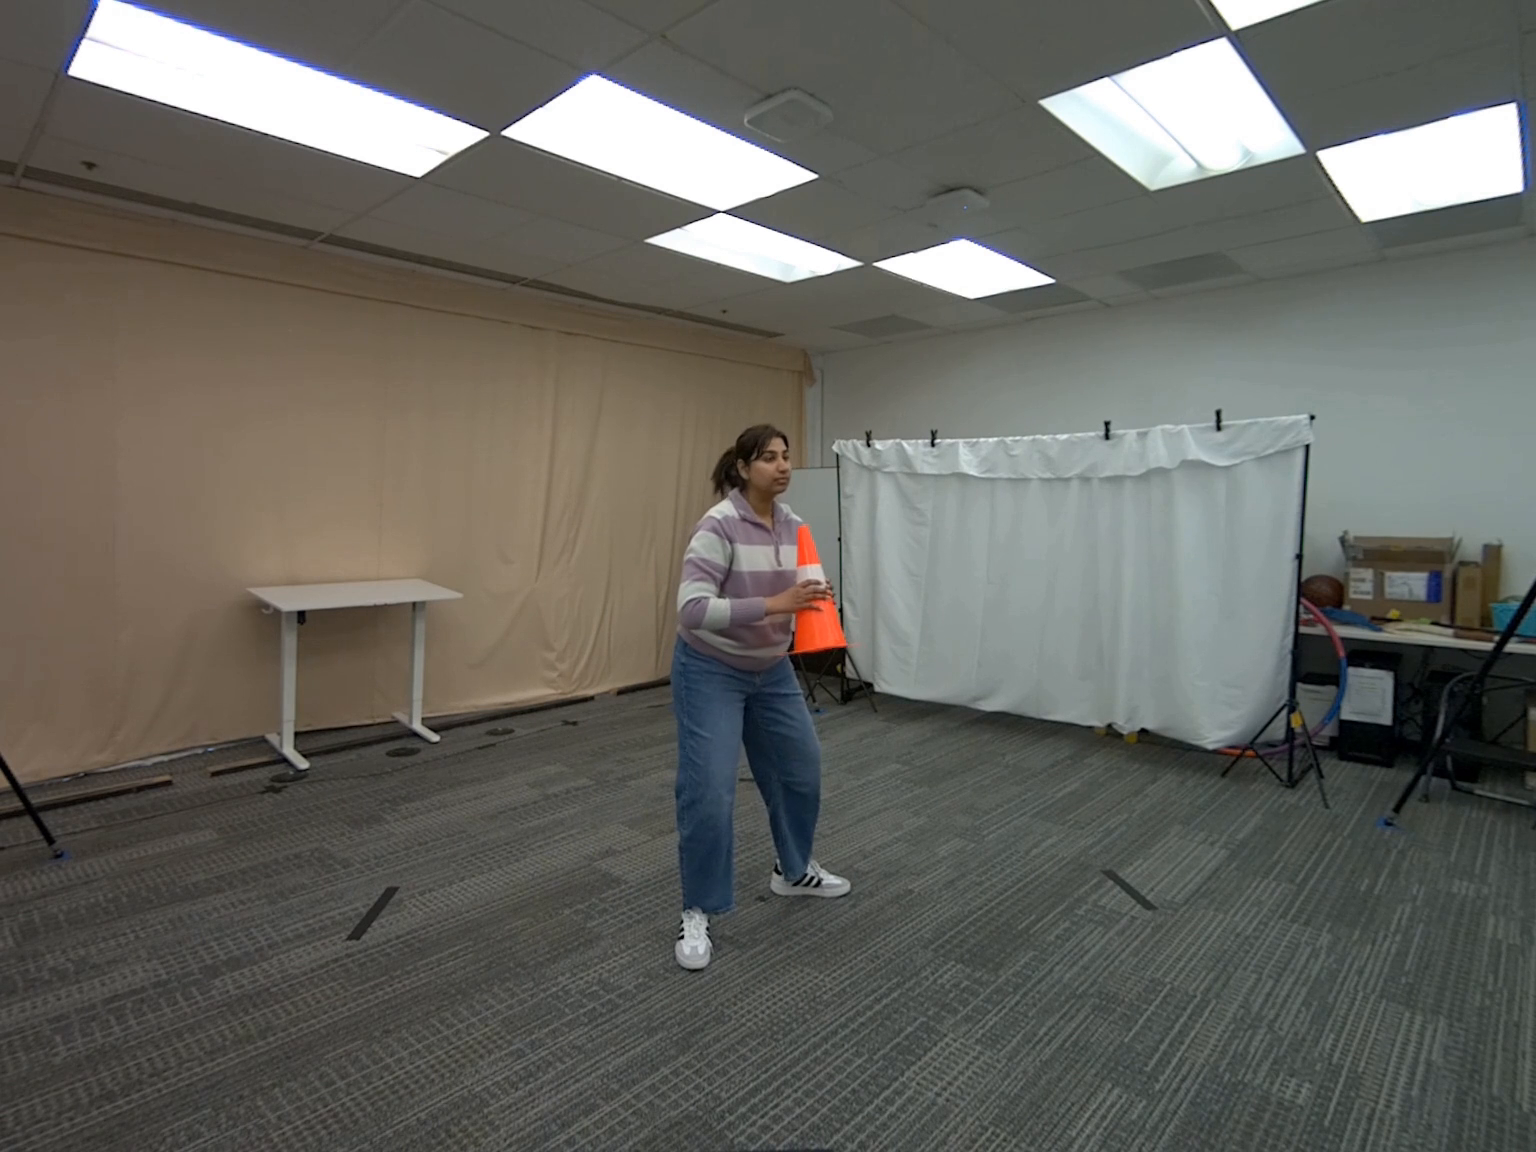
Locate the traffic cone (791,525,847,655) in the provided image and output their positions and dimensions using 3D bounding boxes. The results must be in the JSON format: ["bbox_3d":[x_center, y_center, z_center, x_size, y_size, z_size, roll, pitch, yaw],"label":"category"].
[{"bbox_3d":[0.141,0.050,2.558,0.208,0.386,0.198,-12,-9,33],"label":"traffic cone"}]
